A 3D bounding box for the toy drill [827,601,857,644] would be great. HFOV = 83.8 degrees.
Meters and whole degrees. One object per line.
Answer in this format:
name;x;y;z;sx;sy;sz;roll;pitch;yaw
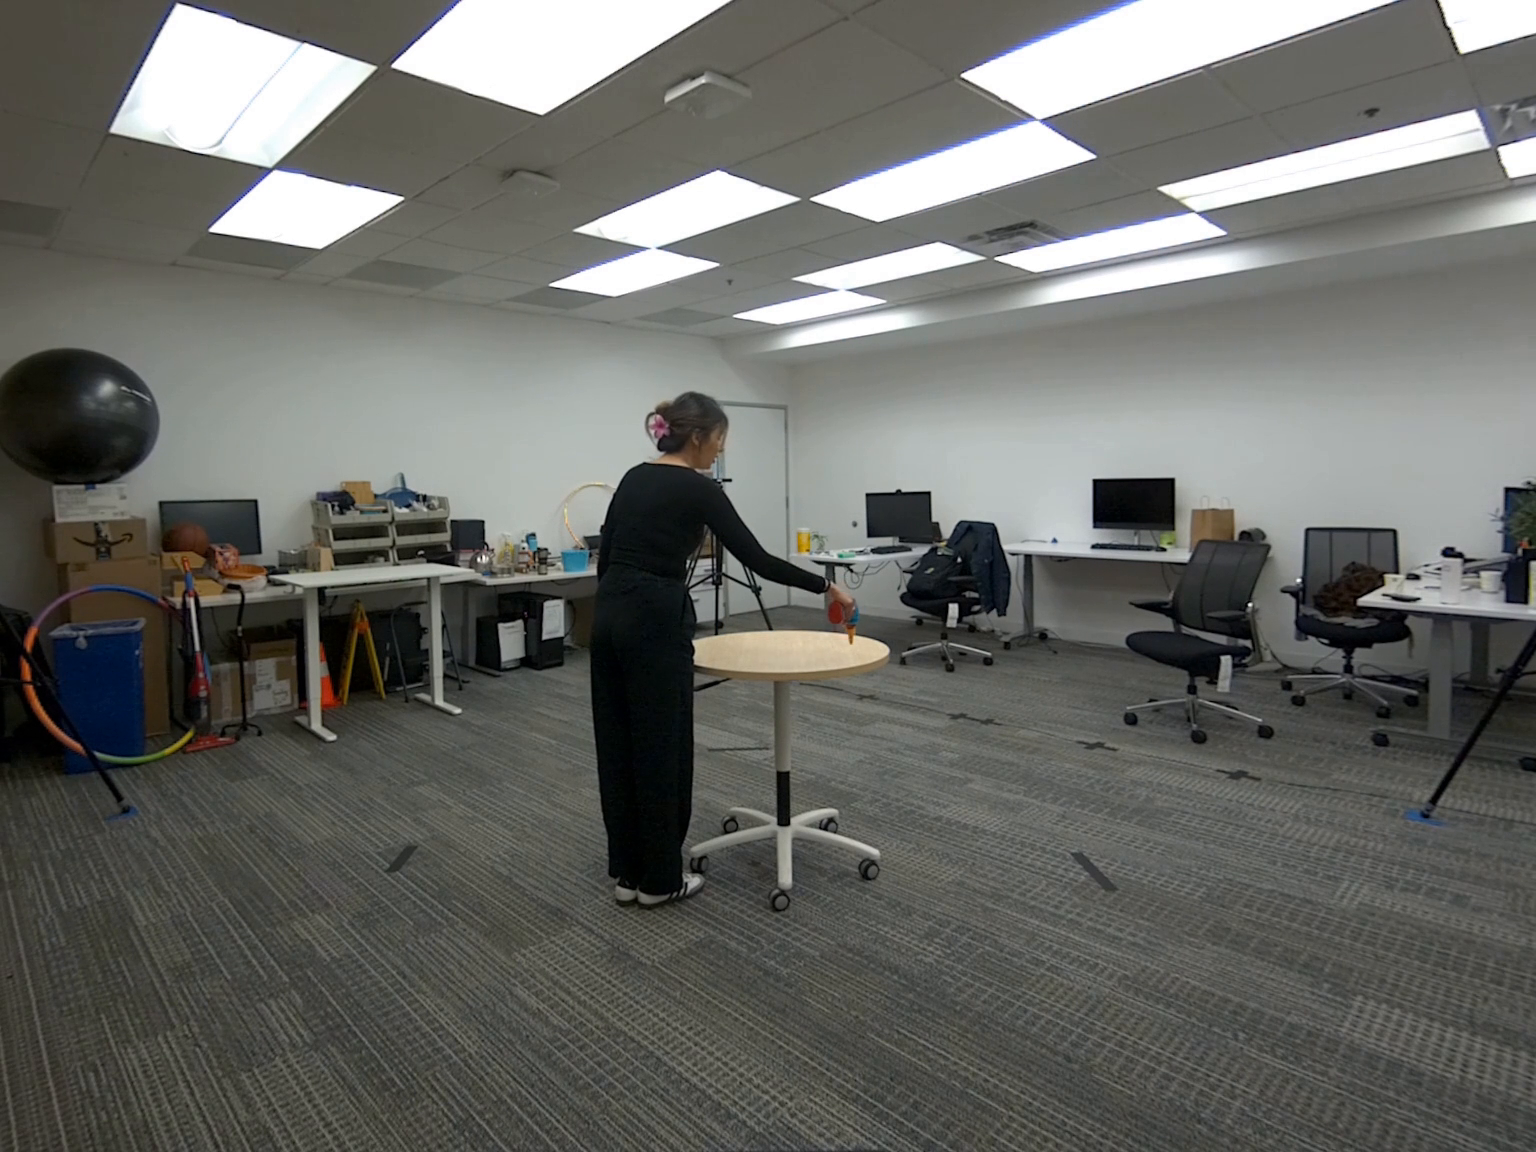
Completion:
toy drill;0.255;0.150;2.834;0.063;0.169;0.143;0;5;32
